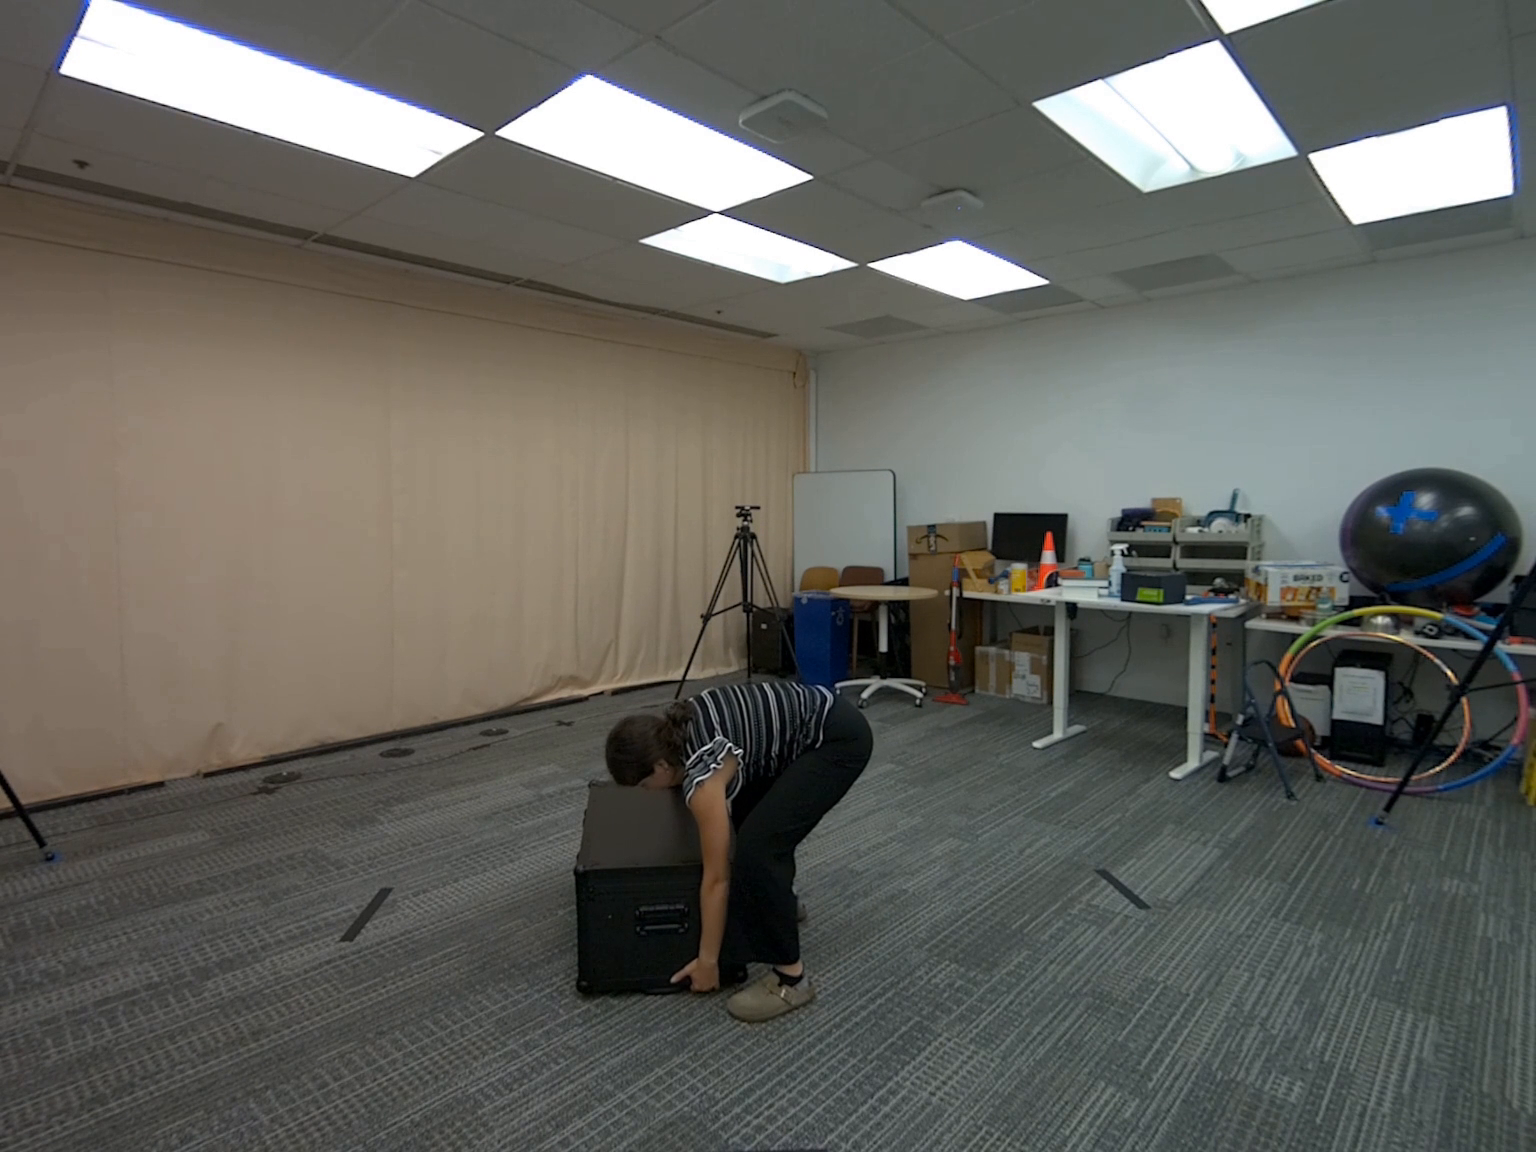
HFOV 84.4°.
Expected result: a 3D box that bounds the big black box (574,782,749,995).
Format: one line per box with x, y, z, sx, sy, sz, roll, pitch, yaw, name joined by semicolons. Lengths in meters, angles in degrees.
-0.364;0.969;2.803;0.517;0.395;0.871;0;5;-9;big black box
